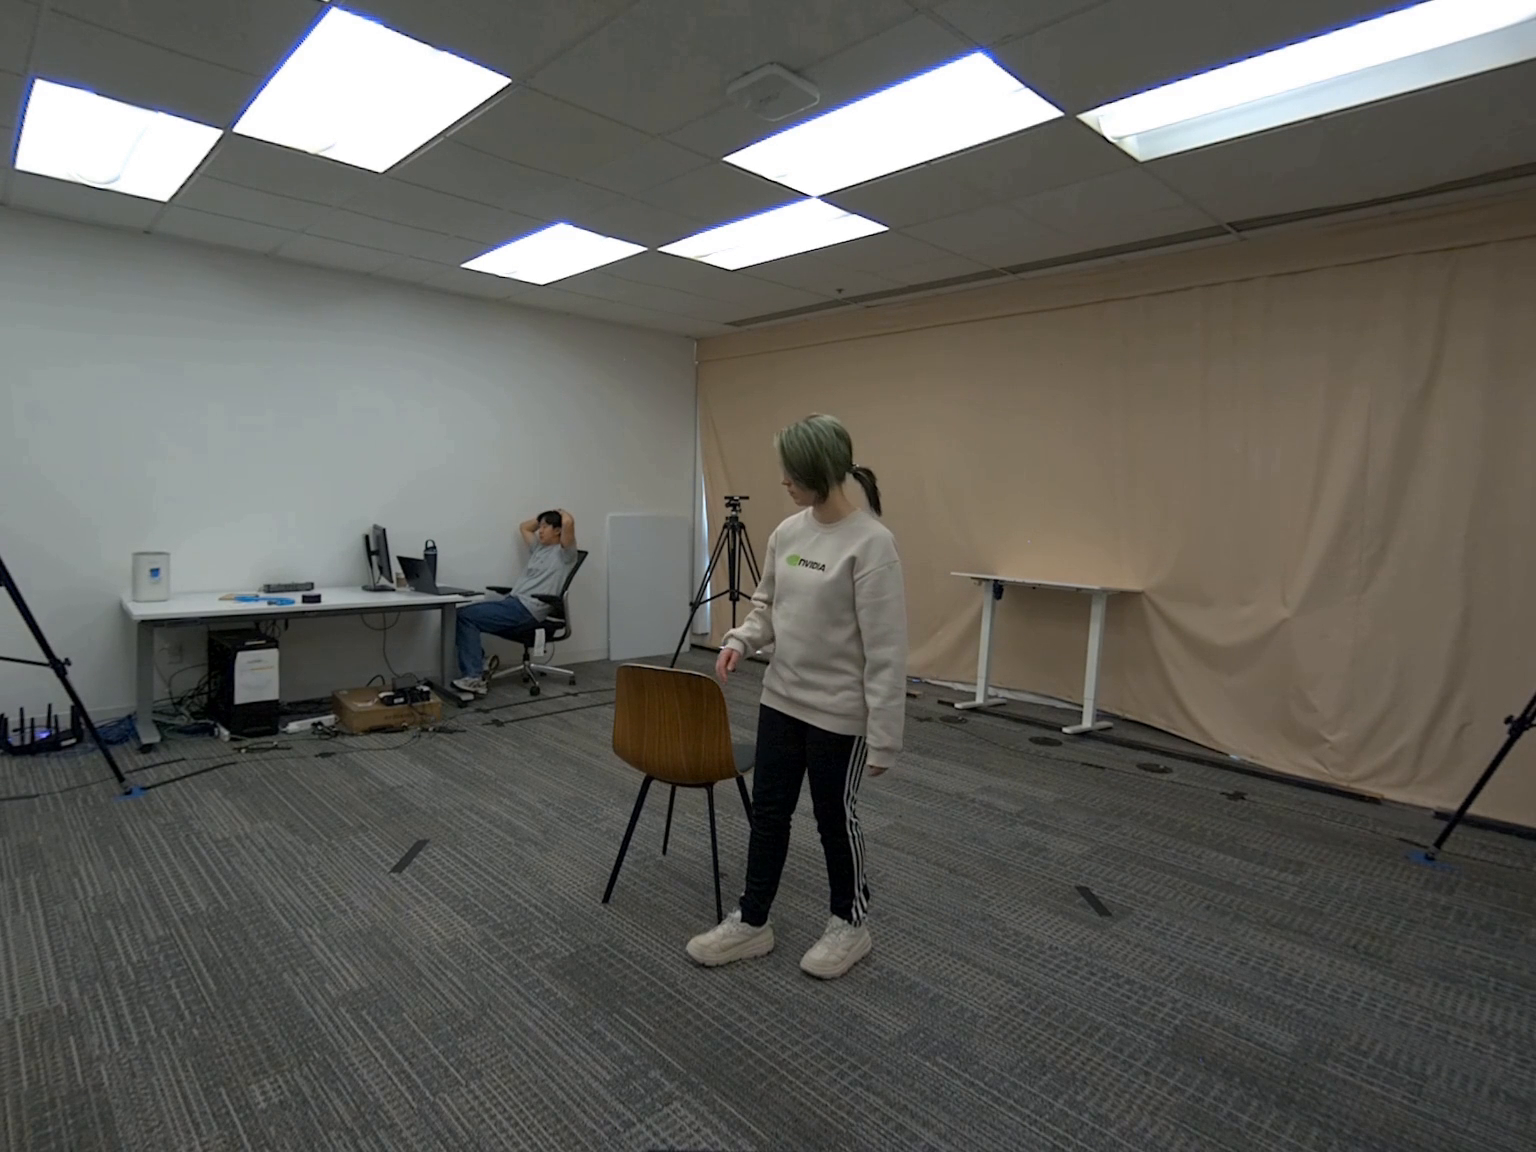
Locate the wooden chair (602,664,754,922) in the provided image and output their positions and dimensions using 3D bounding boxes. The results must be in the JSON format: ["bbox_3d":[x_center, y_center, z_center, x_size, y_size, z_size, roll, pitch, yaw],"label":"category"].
[{"bbox_3d":[-0.270,0.687,2.964,0.487,0.873,0.516,3,8,22],"label":"wooden chair"}]
